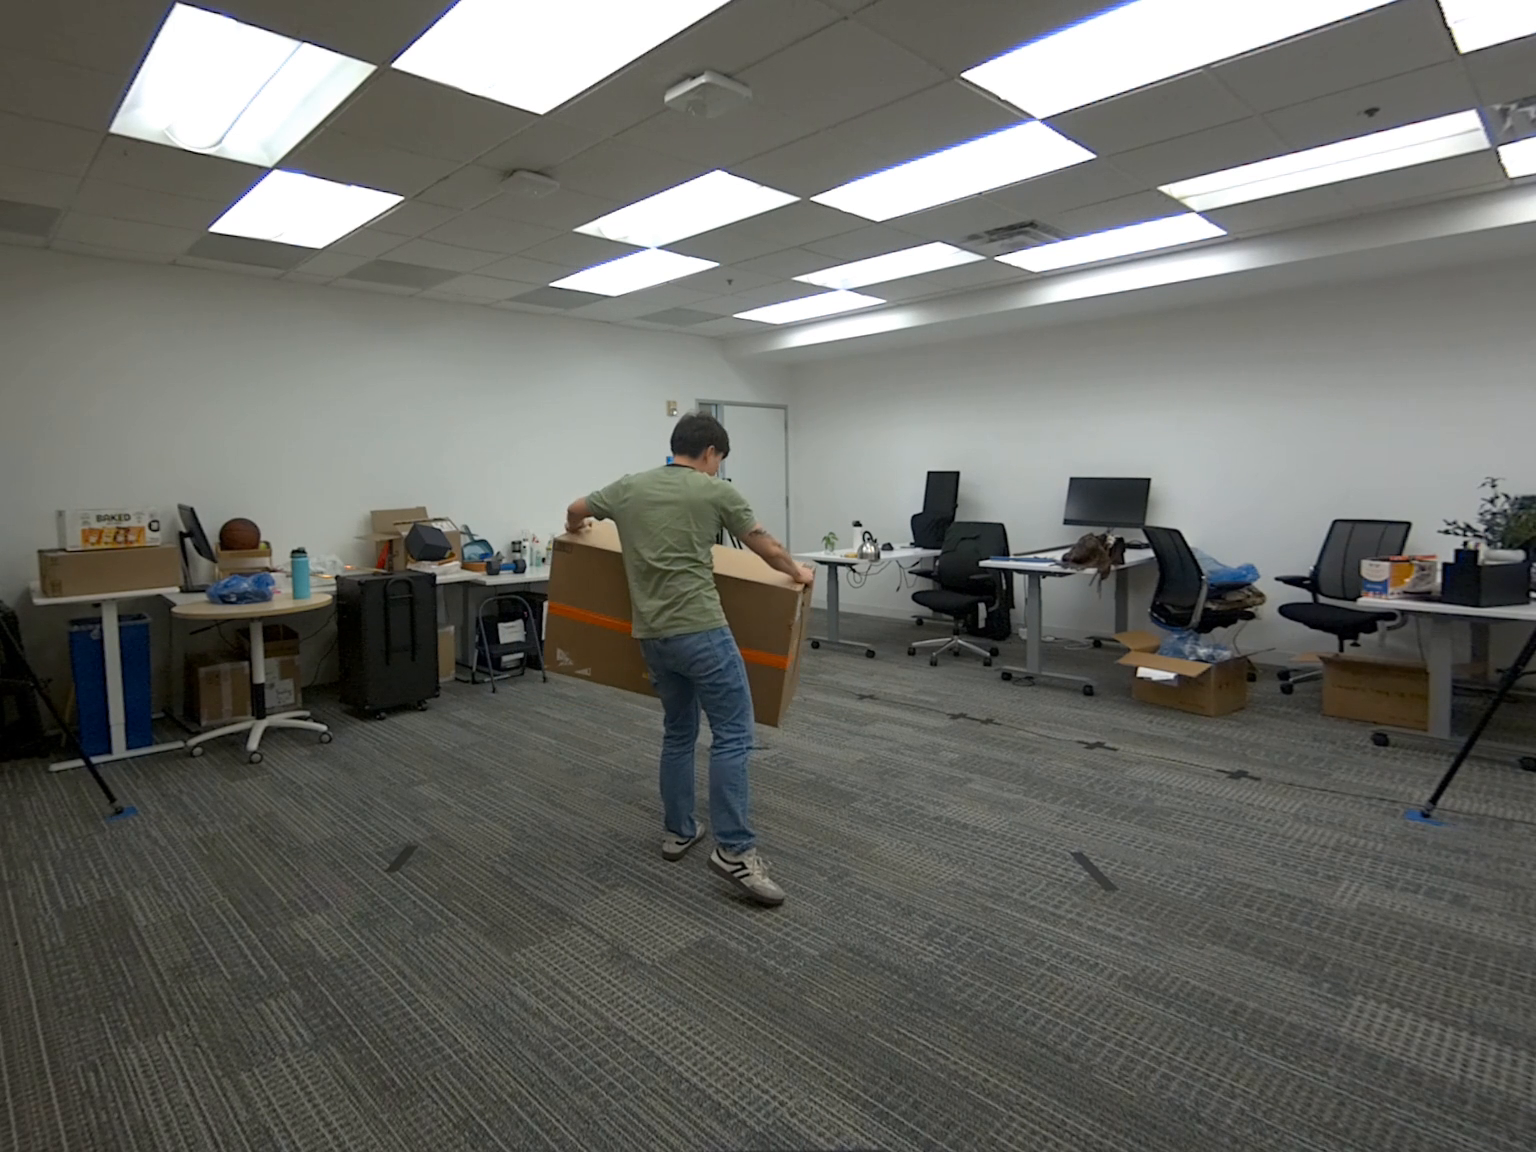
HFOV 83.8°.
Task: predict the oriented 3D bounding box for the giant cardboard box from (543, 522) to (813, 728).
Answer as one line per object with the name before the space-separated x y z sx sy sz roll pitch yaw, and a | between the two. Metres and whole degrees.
giant cardboard box | -0.371 0.174 3.589 1.041 0.571 0.425 12 15 13
